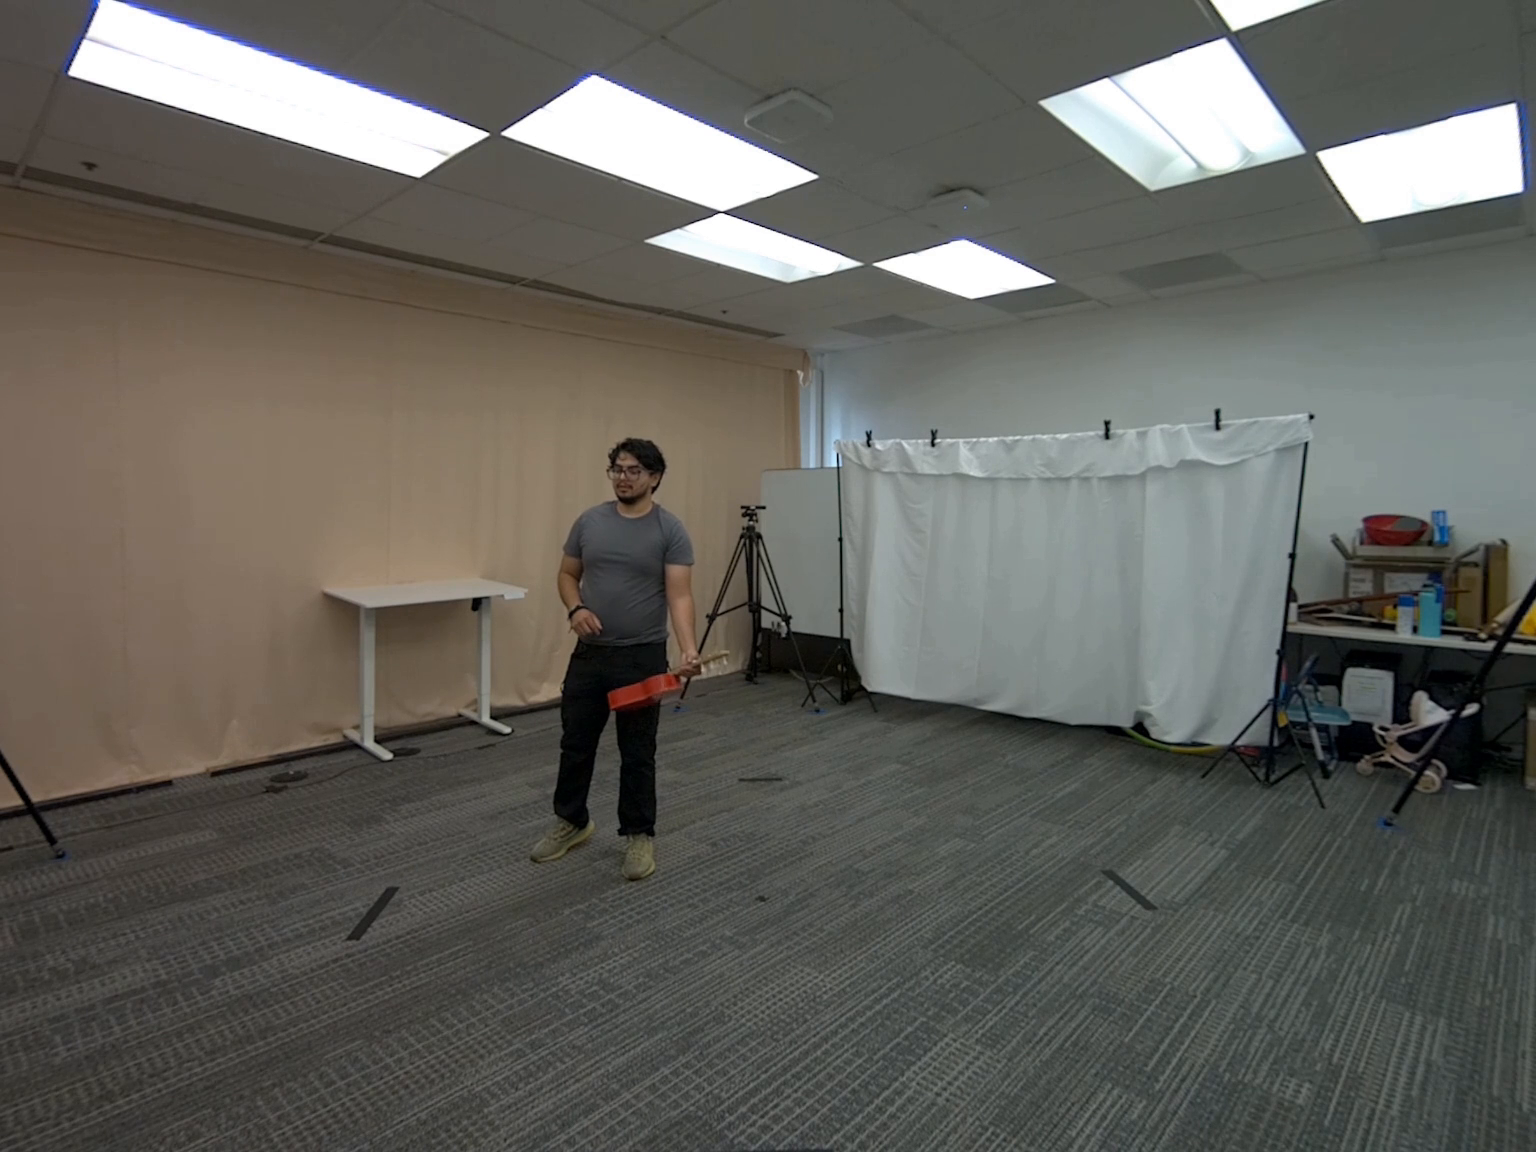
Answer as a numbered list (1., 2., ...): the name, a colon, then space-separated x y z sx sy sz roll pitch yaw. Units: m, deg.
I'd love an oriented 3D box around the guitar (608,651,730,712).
1. guitar: -0.354 0.366 2.891 0.507 0.072 0.187 -27 -19 38
